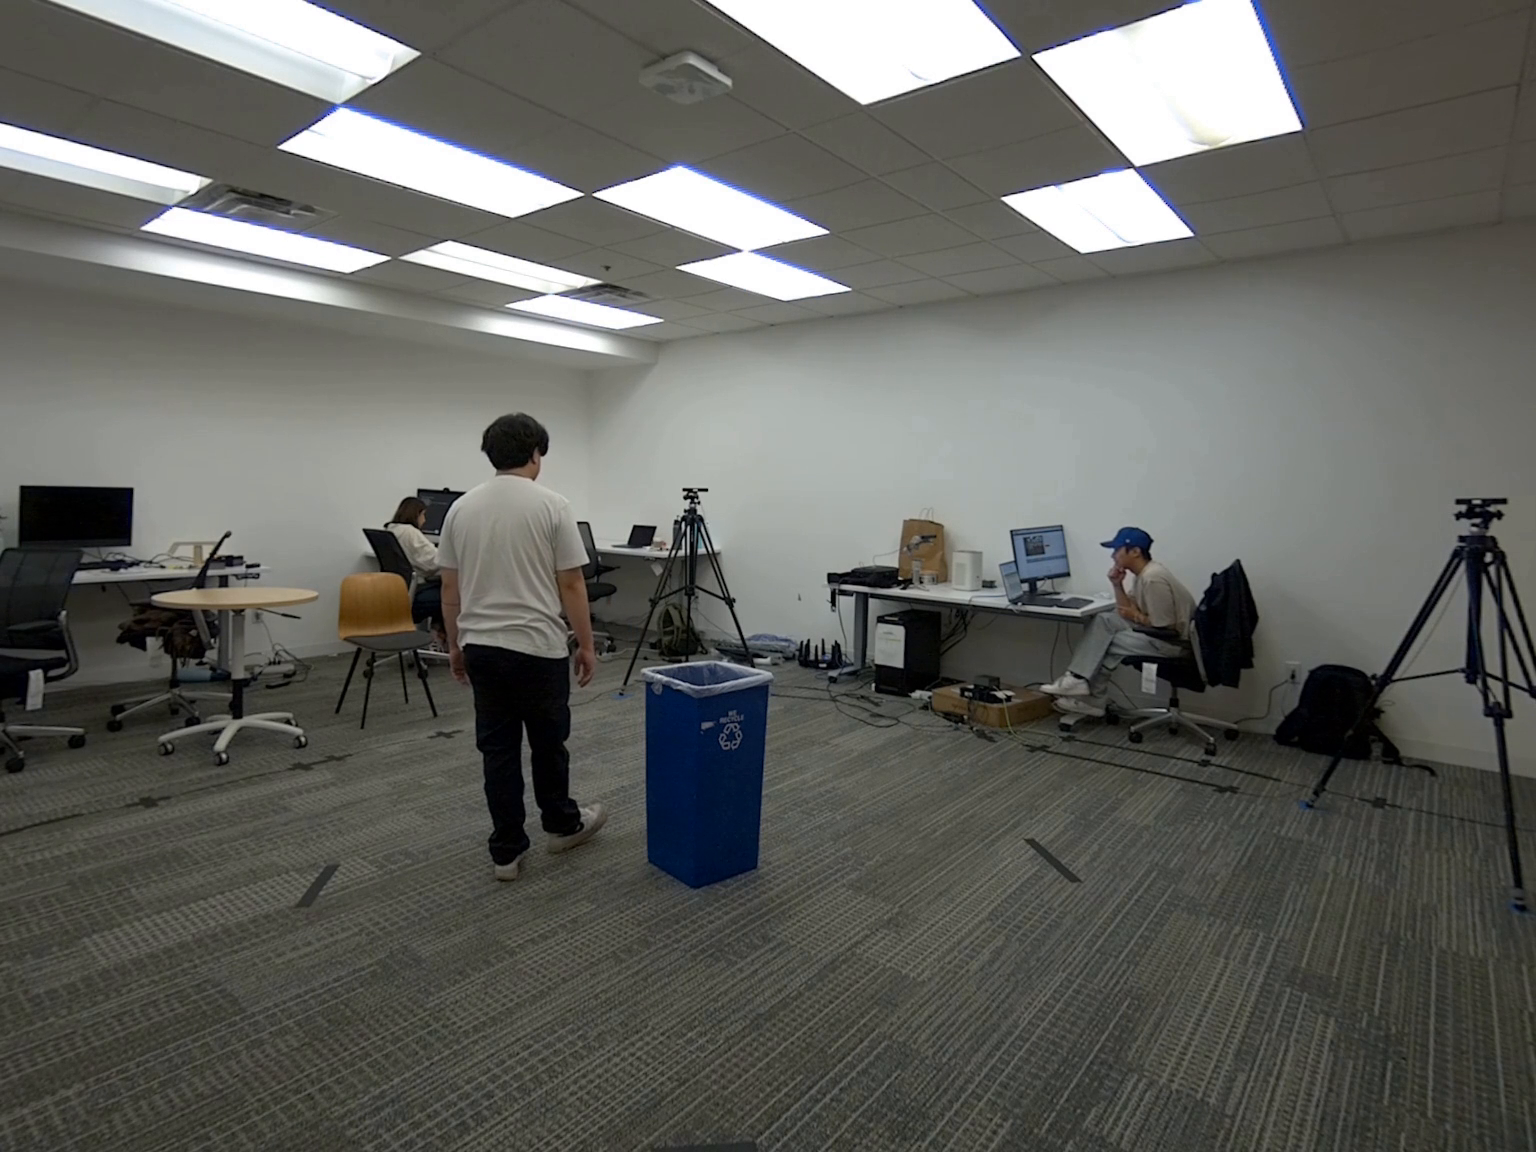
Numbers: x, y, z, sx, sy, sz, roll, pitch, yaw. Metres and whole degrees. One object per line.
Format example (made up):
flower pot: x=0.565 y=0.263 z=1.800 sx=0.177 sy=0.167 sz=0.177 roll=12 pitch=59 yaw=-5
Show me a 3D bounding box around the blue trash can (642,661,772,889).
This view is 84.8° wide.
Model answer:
blue trash can: x=-0.242 y=0.710 z=3.141 sx=0.363 sy=0.711 sz=0.391 roll=-2 pitch=4 yaw=-41
